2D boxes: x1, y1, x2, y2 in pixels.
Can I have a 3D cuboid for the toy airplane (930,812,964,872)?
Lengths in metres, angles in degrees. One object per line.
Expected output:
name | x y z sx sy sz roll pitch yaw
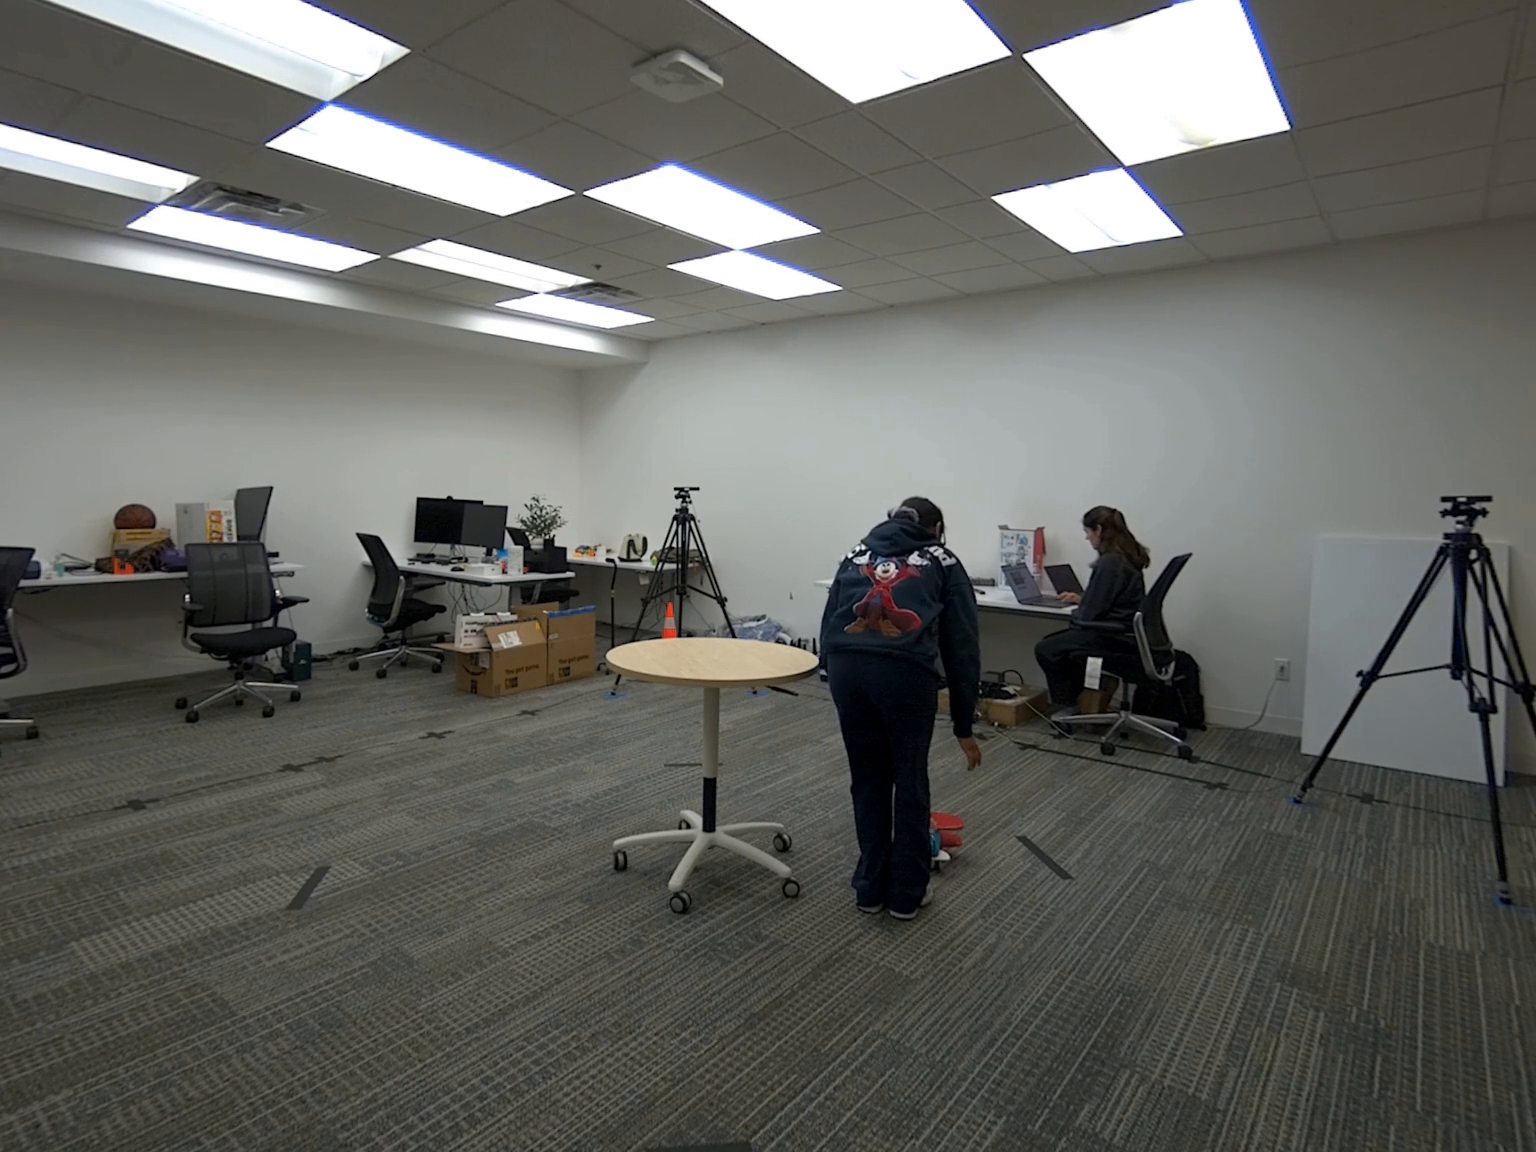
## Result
toy airplane | 0.629 0.997 3.234 0.245 0.156 0.266 -1 5 -24
